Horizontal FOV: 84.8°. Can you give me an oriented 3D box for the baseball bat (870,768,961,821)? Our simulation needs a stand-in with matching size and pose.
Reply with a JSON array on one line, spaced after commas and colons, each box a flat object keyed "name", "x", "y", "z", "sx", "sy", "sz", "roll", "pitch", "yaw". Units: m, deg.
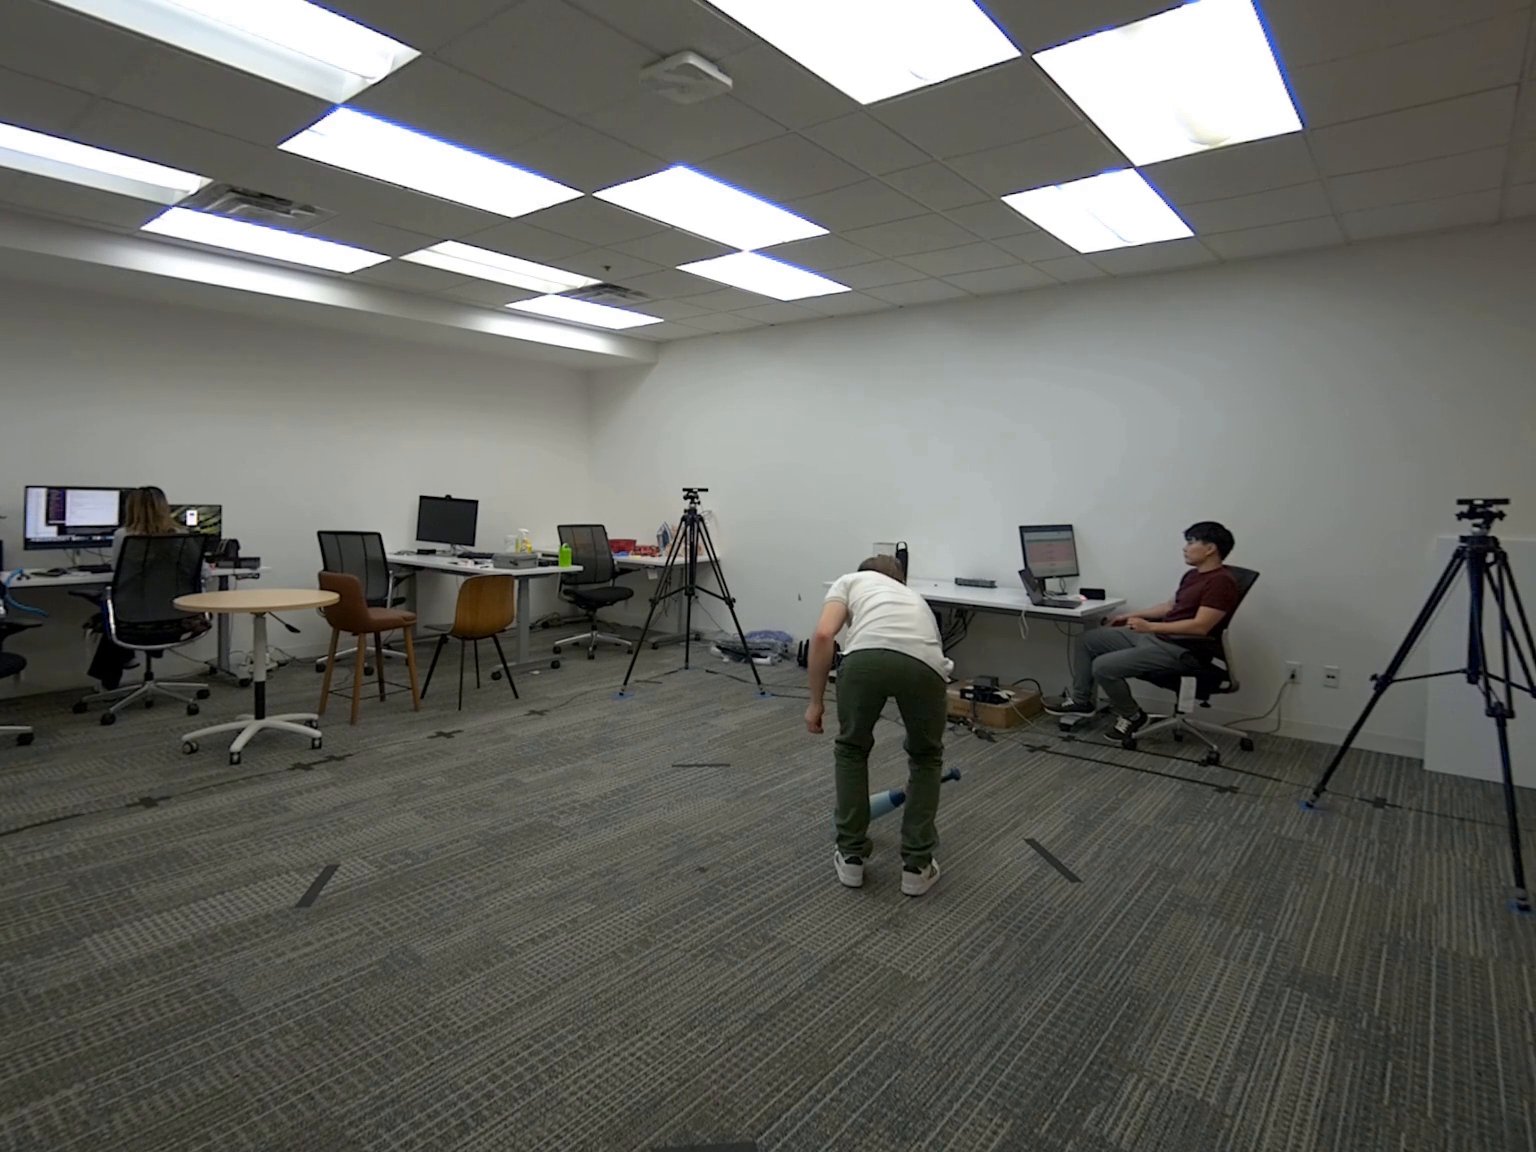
[{"name": "baseball bat", "x": 0.507, "y": 0.857, "z": 3.369, "sx": 0.548, "sy": 0.090, "sz": 0.087, "roll": -28, "pitch": -8, "yaw": 23}]
